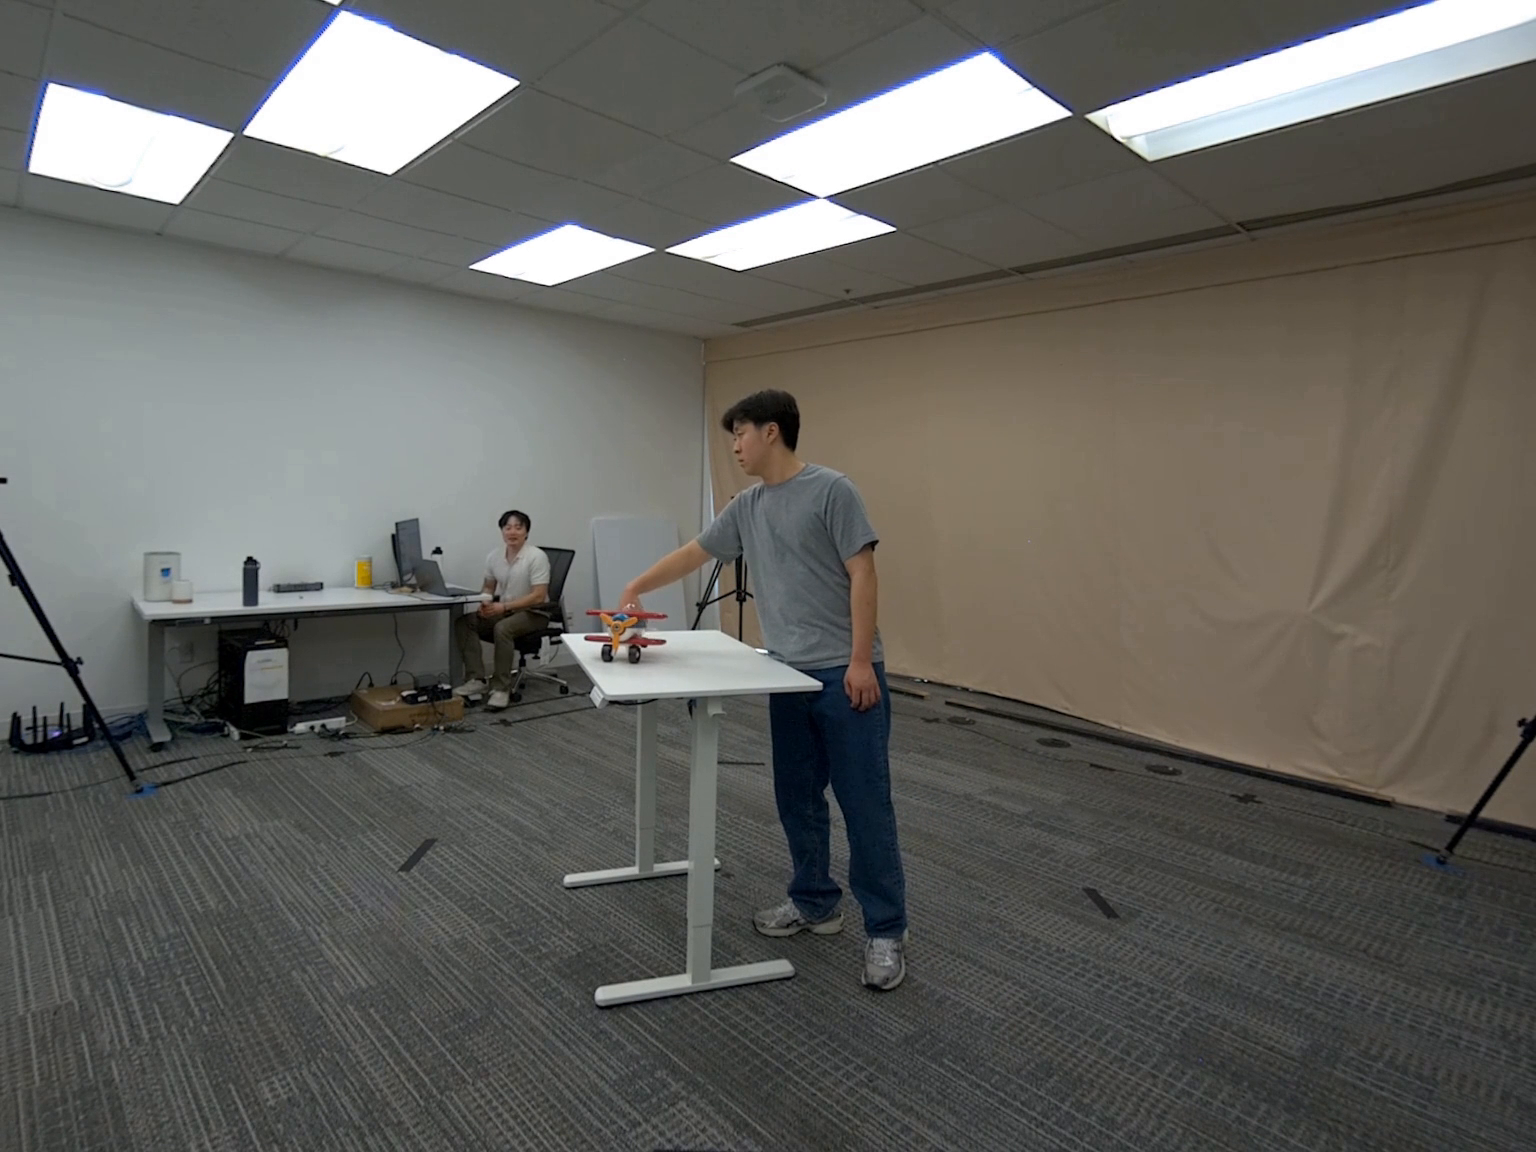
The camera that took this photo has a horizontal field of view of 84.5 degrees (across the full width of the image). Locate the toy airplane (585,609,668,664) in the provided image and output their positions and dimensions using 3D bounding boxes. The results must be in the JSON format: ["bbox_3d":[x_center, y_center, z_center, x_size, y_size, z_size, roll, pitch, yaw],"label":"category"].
[{"bbox_3d":[-0.454,0.173,2.641,0.248,0.155,0.264,-2,10,-19],"label":"toy airplane"}]
